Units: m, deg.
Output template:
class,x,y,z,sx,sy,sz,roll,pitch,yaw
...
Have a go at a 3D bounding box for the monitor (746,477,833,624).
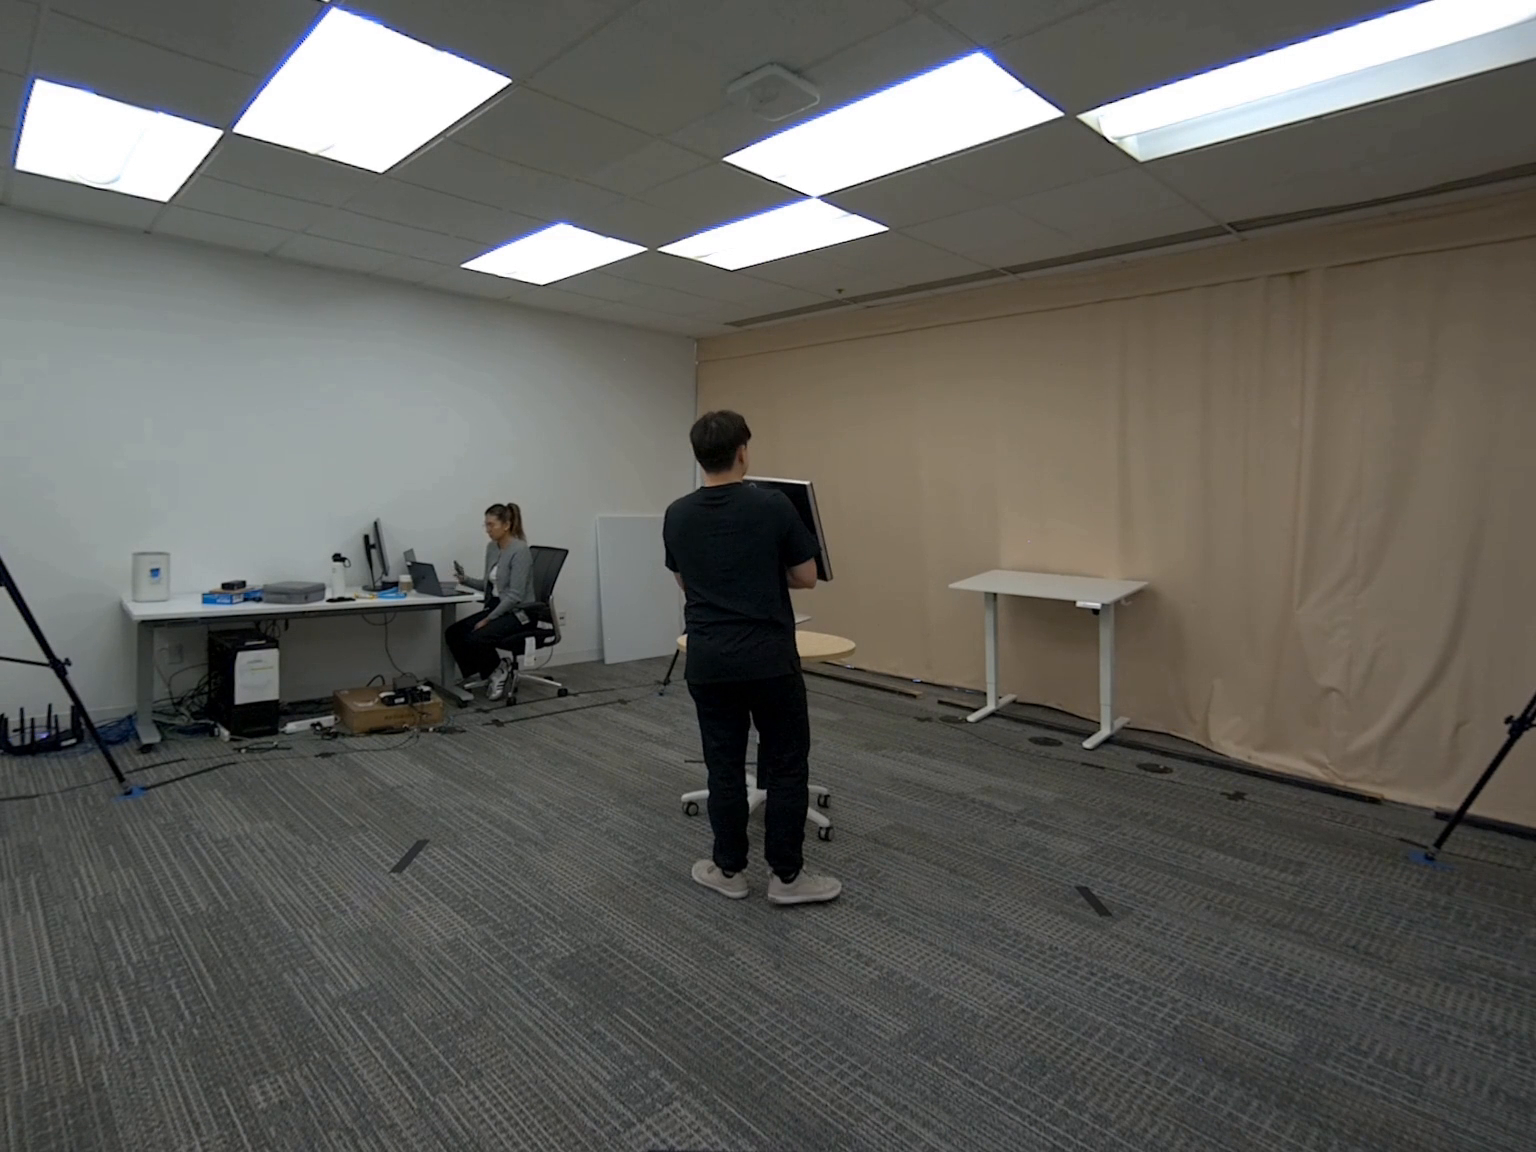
class,x,y,z,sx,sy,sz,roll,pitch,yaw
monitor,-0.016,-0.091,3.067,0.184,0.517,0.554,-13,16,-36
